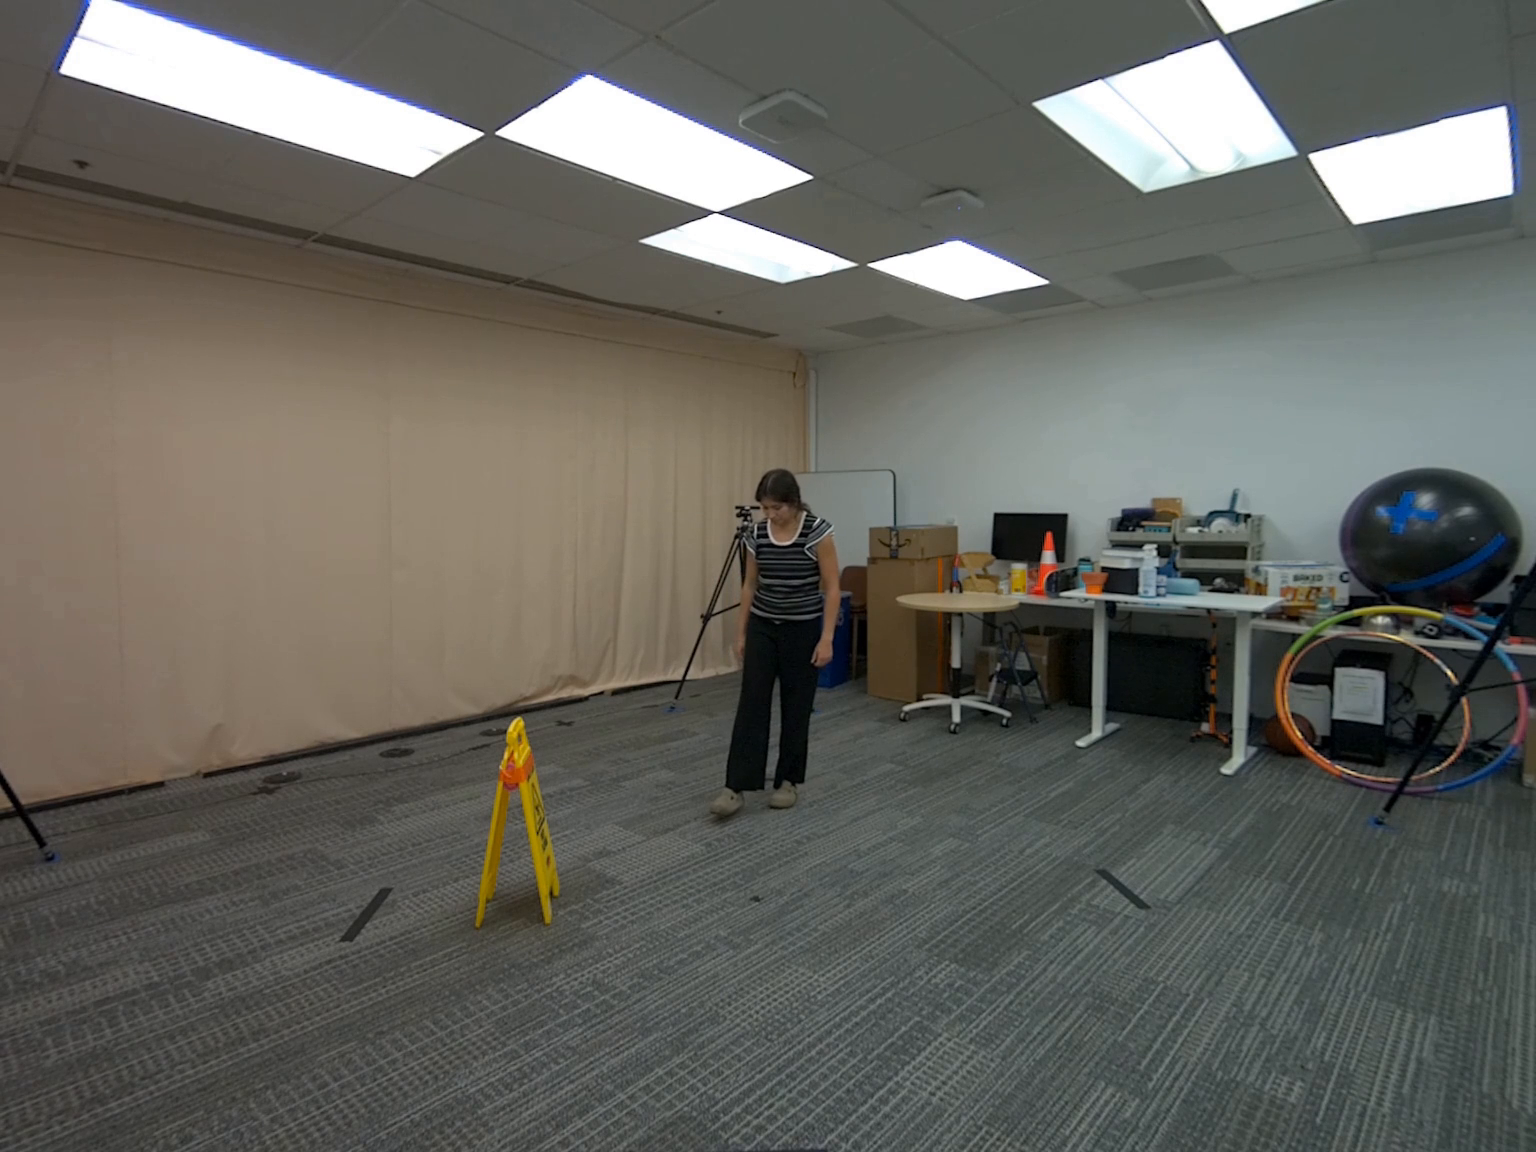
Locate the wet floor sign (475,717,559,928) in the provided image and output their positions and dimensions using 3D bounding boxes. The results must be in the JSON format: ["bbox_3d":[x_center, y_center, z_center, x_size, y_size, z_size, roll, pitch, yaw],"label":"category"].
[{"bbox_3d":[-0.876,0.831,2.917,0.288,0.645,0.284,0,2,-6],"label":"wet floor sign"}]
